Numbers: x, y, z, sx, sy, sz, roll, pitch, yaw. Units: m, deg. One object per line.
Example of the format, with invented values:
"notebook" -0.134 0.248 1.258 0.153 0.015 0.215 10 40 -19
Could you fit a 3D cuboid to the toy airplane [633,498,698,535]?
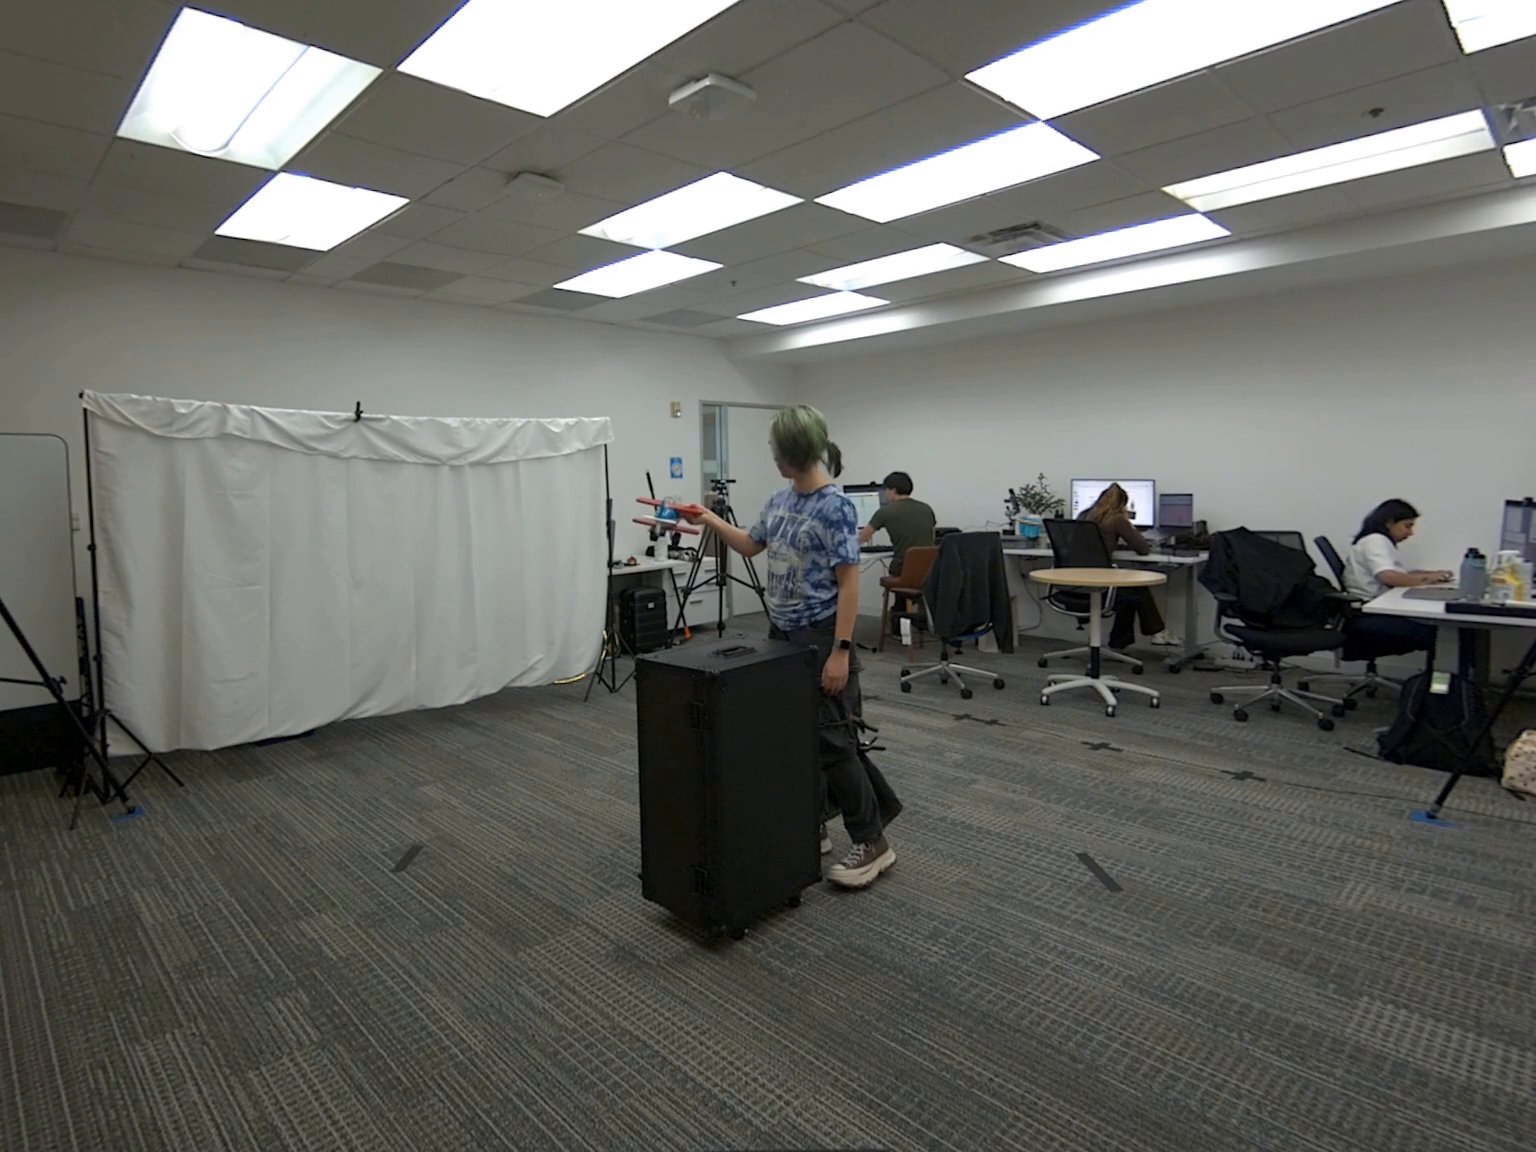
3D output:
"toy airplane" -0.357 -0.204 3.147 0.245 0.157 0.264 17 -9 -23
